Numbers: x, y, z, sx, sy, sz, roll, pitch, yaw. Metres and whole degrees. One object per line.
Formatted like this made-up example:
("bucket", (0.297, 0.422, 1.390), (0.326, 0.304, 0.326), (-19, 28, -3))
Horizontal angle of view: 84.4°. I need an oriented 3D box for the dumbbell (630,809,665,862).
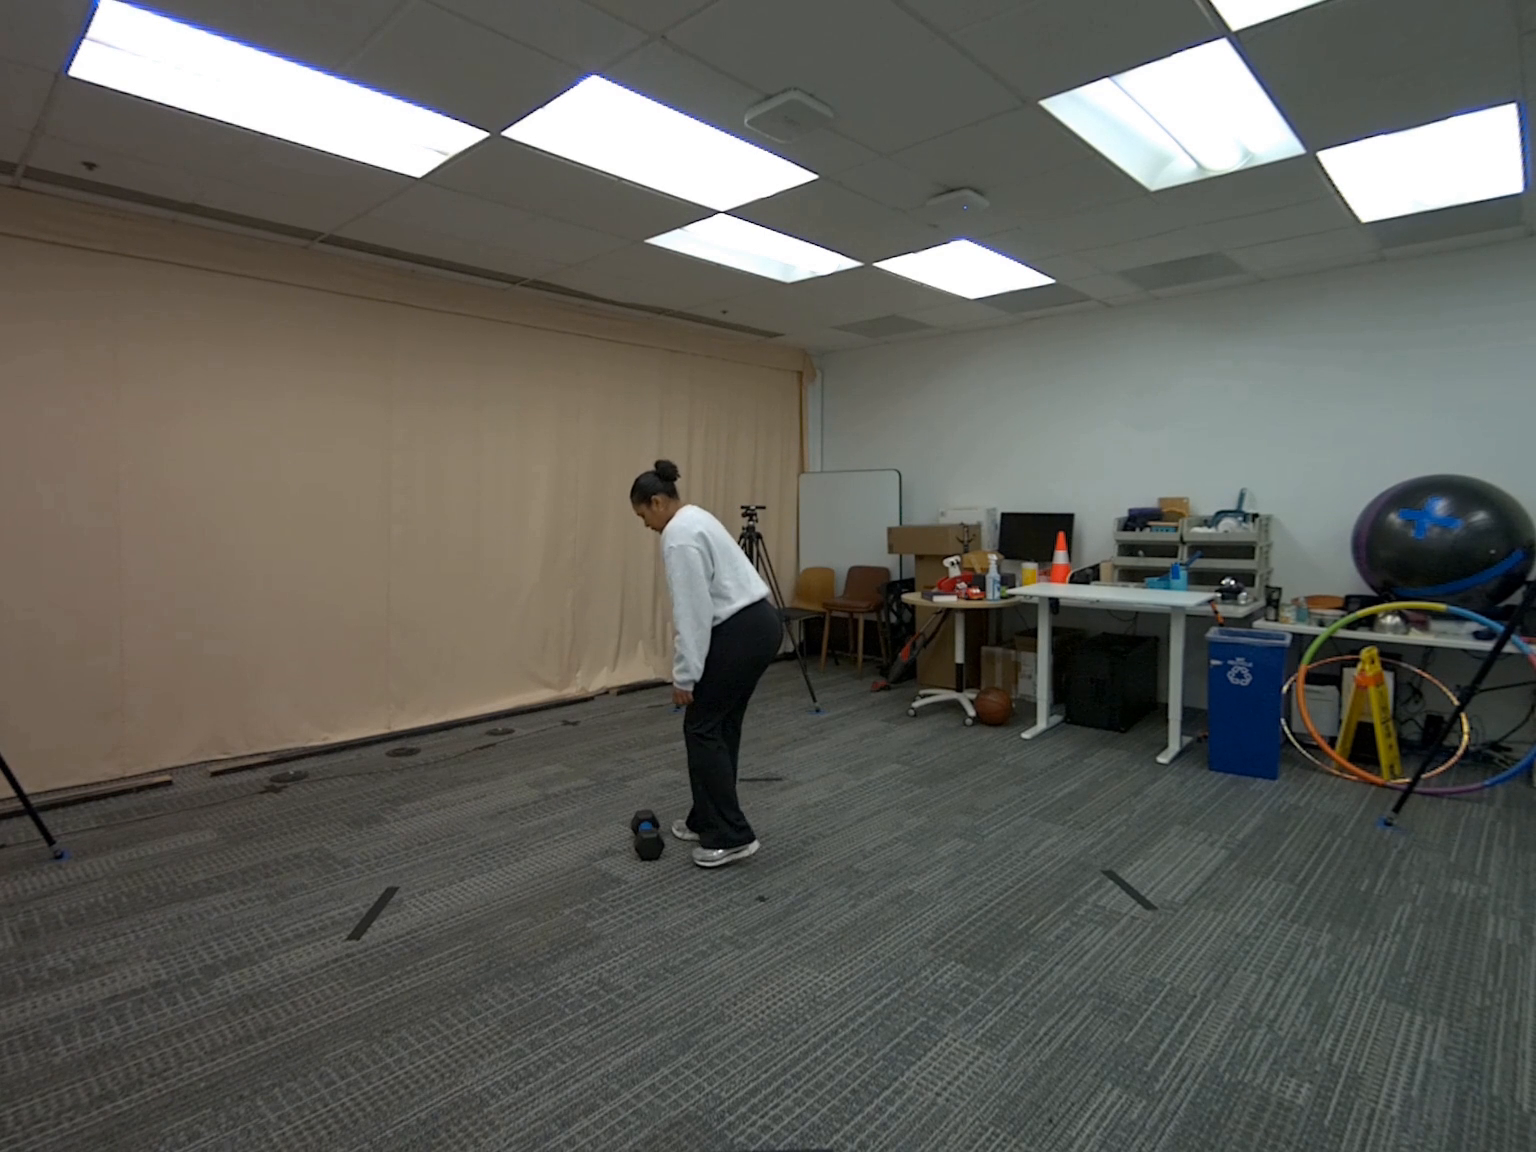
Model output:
("dumbbell", (-0.491, 1.061, 3.447), (0.108, 0.122, 0.298), (-32, 10, -8))
